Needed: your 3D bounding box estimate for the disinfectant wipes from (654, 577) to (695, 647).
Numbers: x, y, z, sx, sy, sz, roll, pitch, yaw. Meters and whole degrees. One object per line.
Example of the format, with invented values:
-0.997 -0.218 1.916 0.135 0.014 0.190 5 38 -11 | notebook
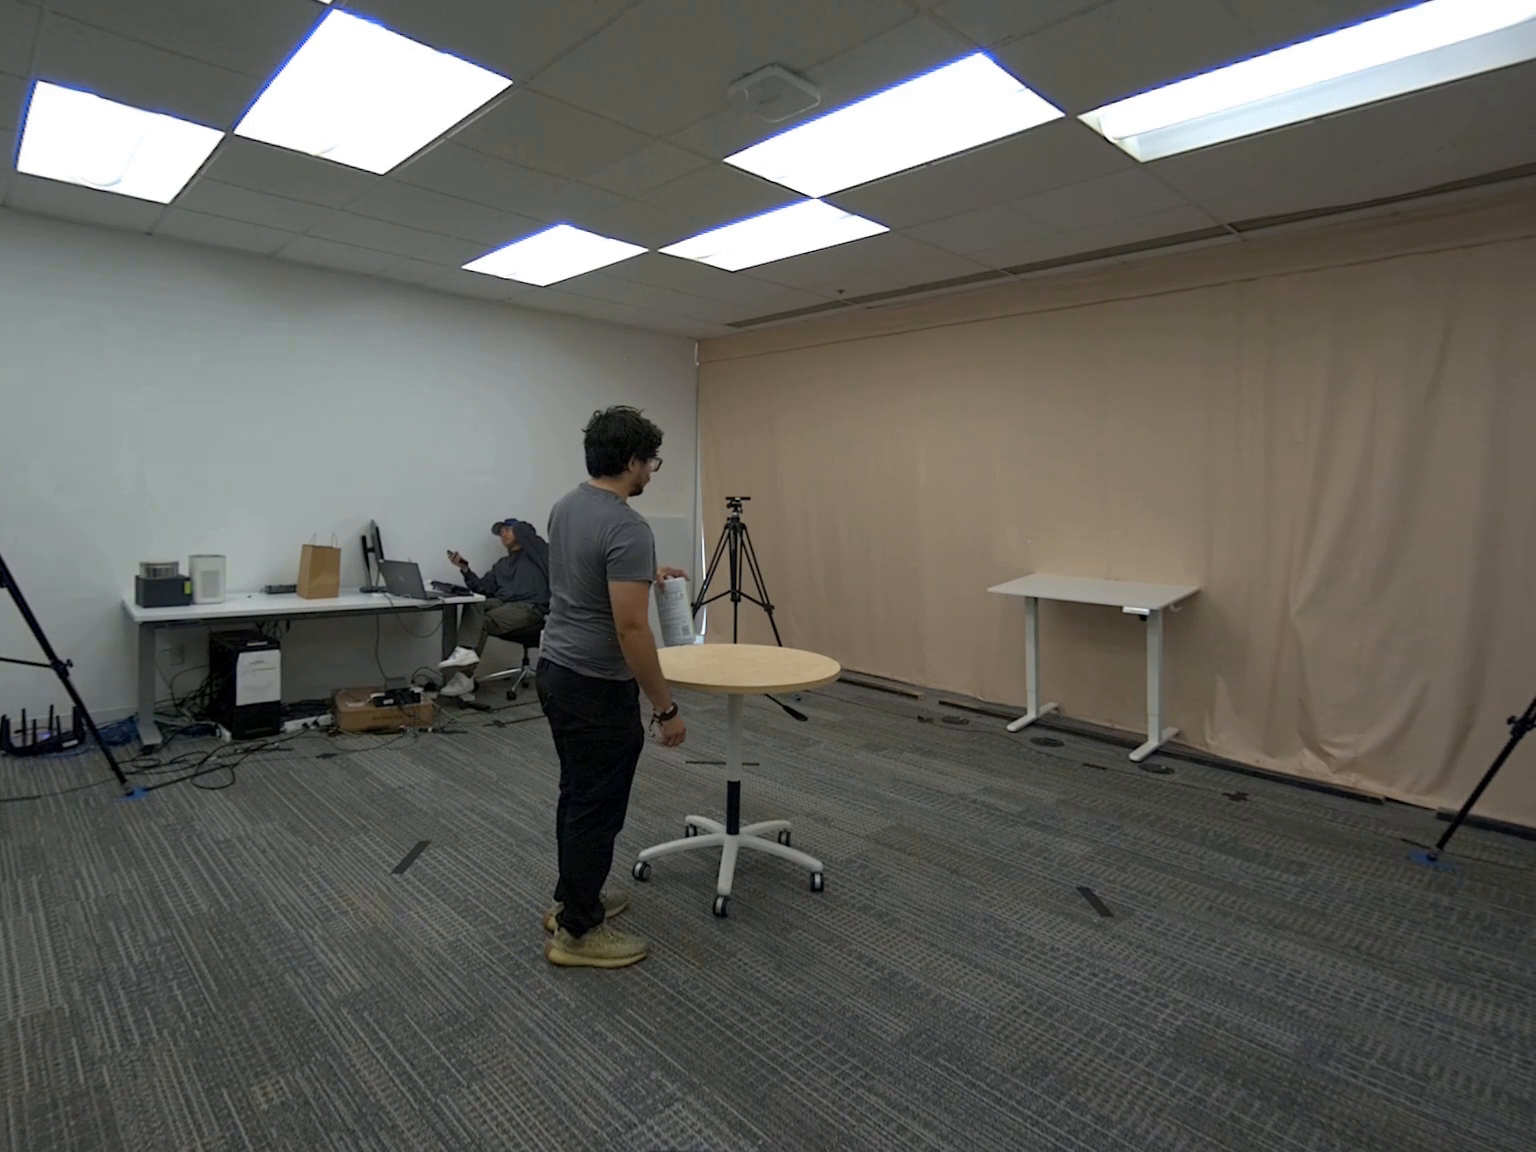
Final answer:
-0.306 0.123 2.758 0.118 0.217 0.118 -10 0 -1 | disinfectant wipes
